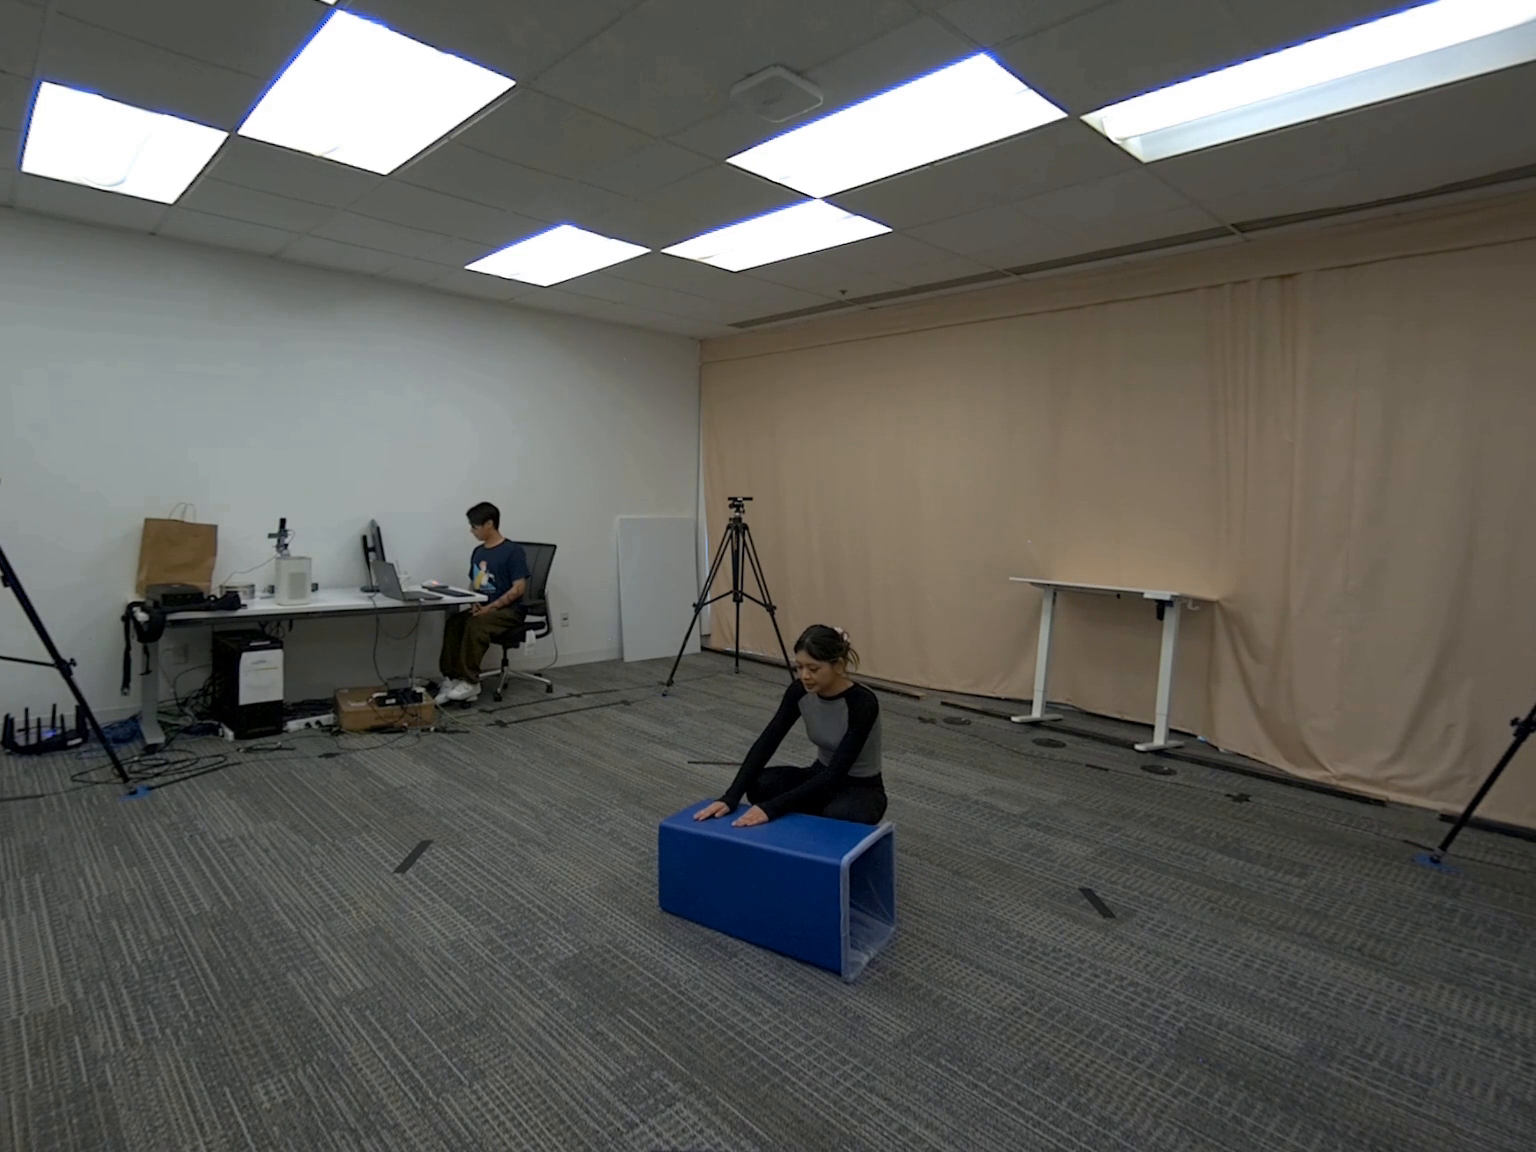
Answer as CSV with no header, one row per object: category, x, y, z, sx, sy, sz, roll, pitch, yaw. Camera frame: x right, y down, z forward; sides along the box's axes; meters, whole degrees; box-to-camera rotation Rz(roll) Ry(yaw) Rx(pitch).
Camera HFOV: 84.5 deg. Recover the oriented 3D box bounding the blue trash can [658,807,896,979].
blue trash can,0.008,0.976,2.757,0.729,0.377,0.367,1,5,33
